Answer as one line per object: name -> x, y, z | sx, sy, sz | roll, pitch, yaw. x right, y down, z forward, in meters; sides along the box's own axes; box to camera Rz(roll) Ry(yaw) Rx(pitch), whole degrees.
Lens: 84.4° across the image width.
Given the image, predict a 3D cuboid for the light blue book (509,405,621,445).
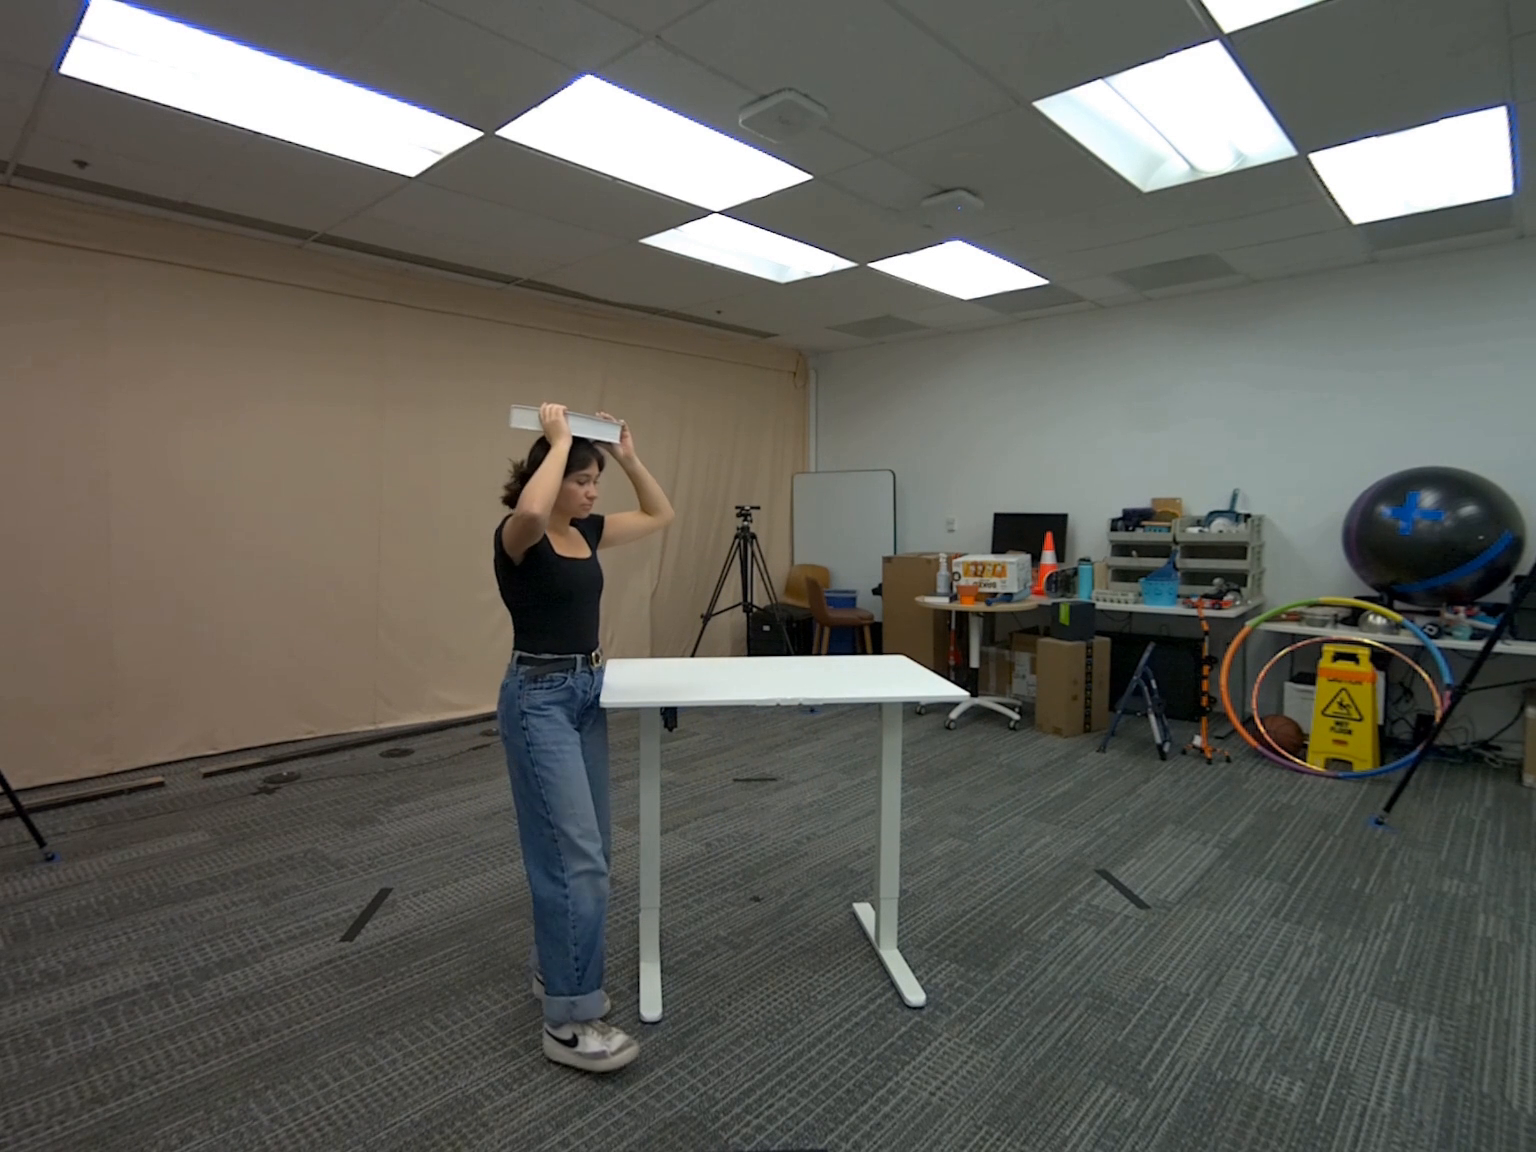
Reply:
light blue book -> -0.543, -0.410, 2.259 | 0.196, 0.059, 0.256 | 10, 6, 19
